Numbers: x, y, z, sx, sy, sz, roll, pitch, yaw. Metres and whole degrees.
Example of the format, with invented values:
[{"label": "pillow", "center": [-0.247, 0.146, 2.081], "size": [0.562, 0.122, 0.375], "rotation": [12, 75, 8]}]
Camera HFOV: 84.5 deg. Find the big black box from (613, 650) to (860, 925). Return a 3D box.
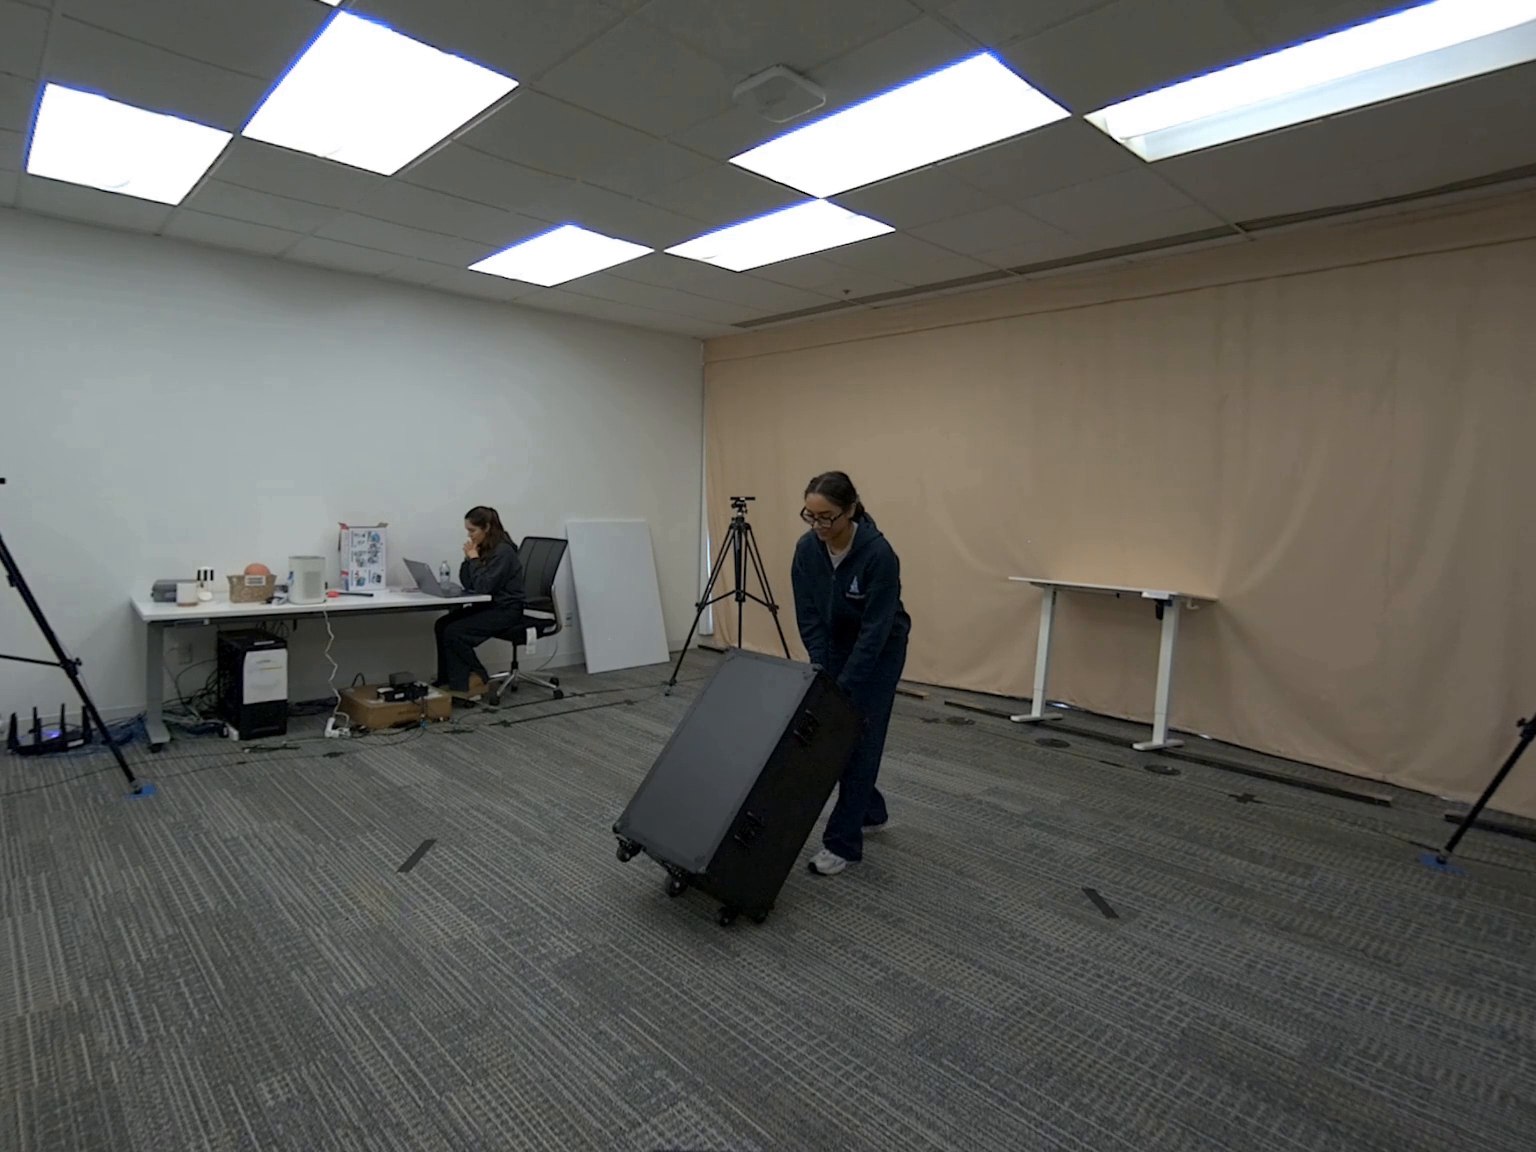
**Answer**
[{"label": "big black box", "center": [-0.106, 0.732, 2.949], "size": [0.534, 0.865, 0.385], "rotation": [5, -37, 46]}]
